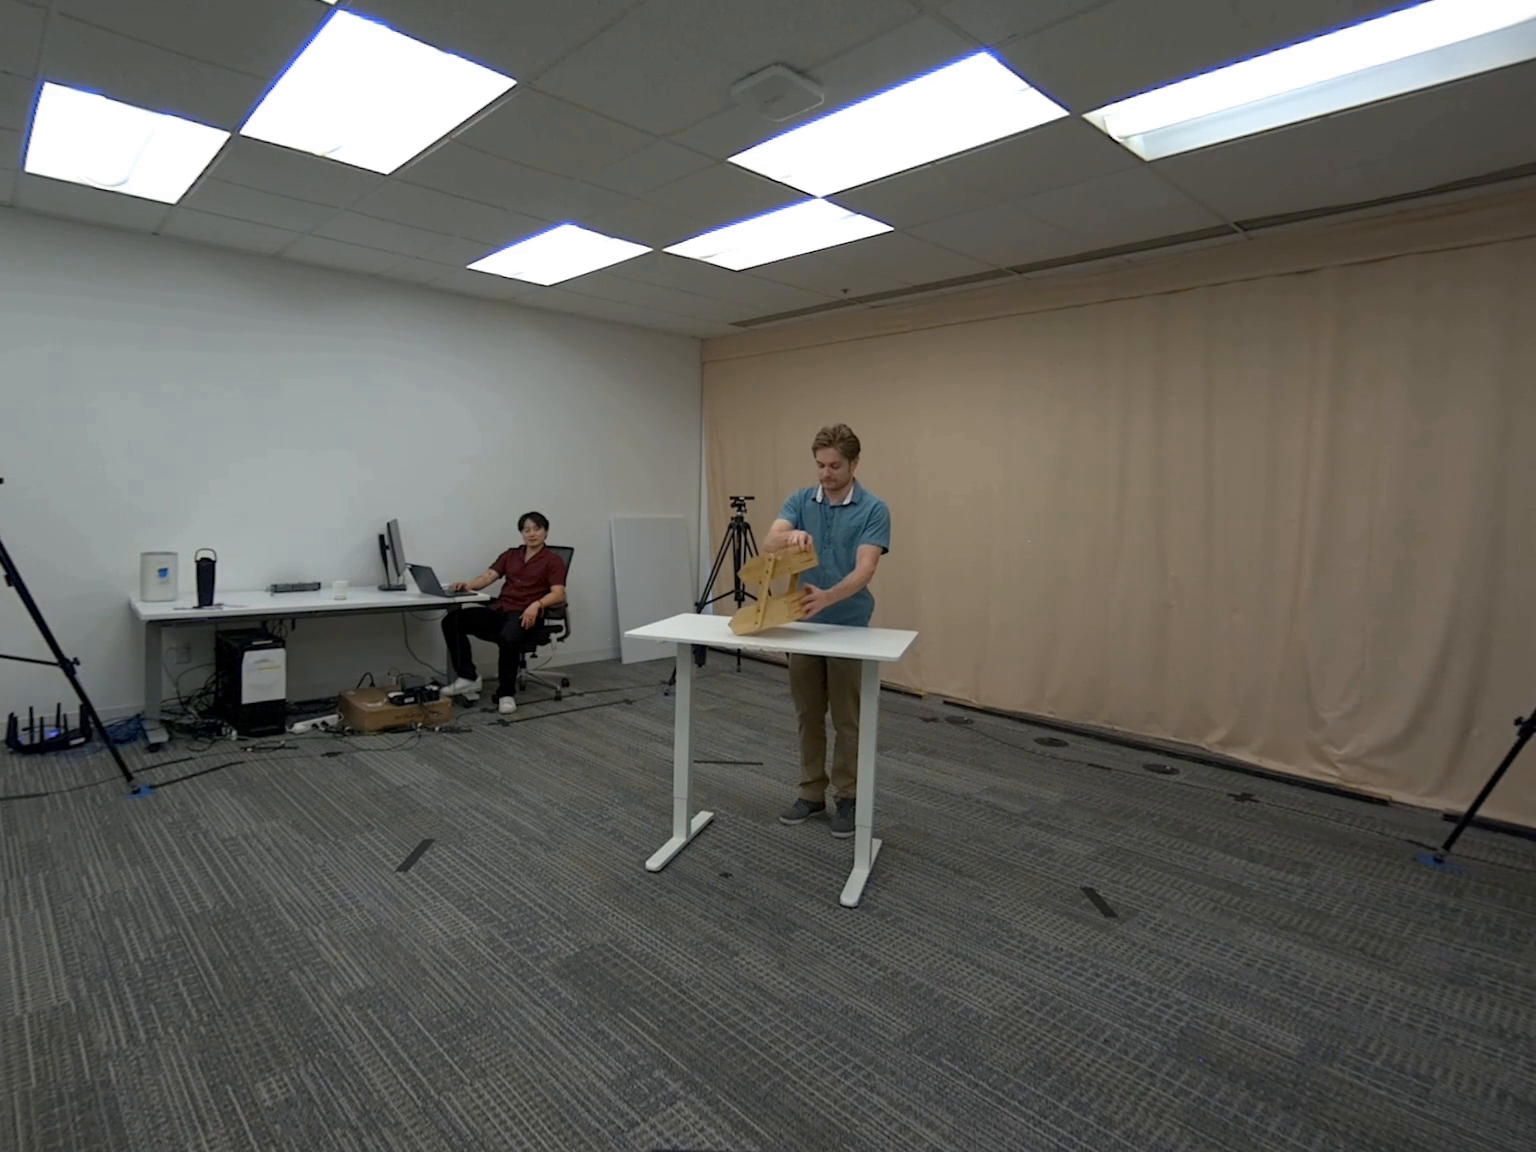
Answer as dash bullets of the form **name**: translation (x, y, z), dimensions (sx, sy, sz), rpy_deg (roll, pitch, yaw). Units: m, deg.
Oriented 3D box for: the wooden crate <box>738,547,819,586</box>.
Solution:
- **wooden crate**: translation (0.000, 0.037, 3.190), dimensions (0.306, 0.273, 0.320), rpy_deg (-14, 1, 23)
